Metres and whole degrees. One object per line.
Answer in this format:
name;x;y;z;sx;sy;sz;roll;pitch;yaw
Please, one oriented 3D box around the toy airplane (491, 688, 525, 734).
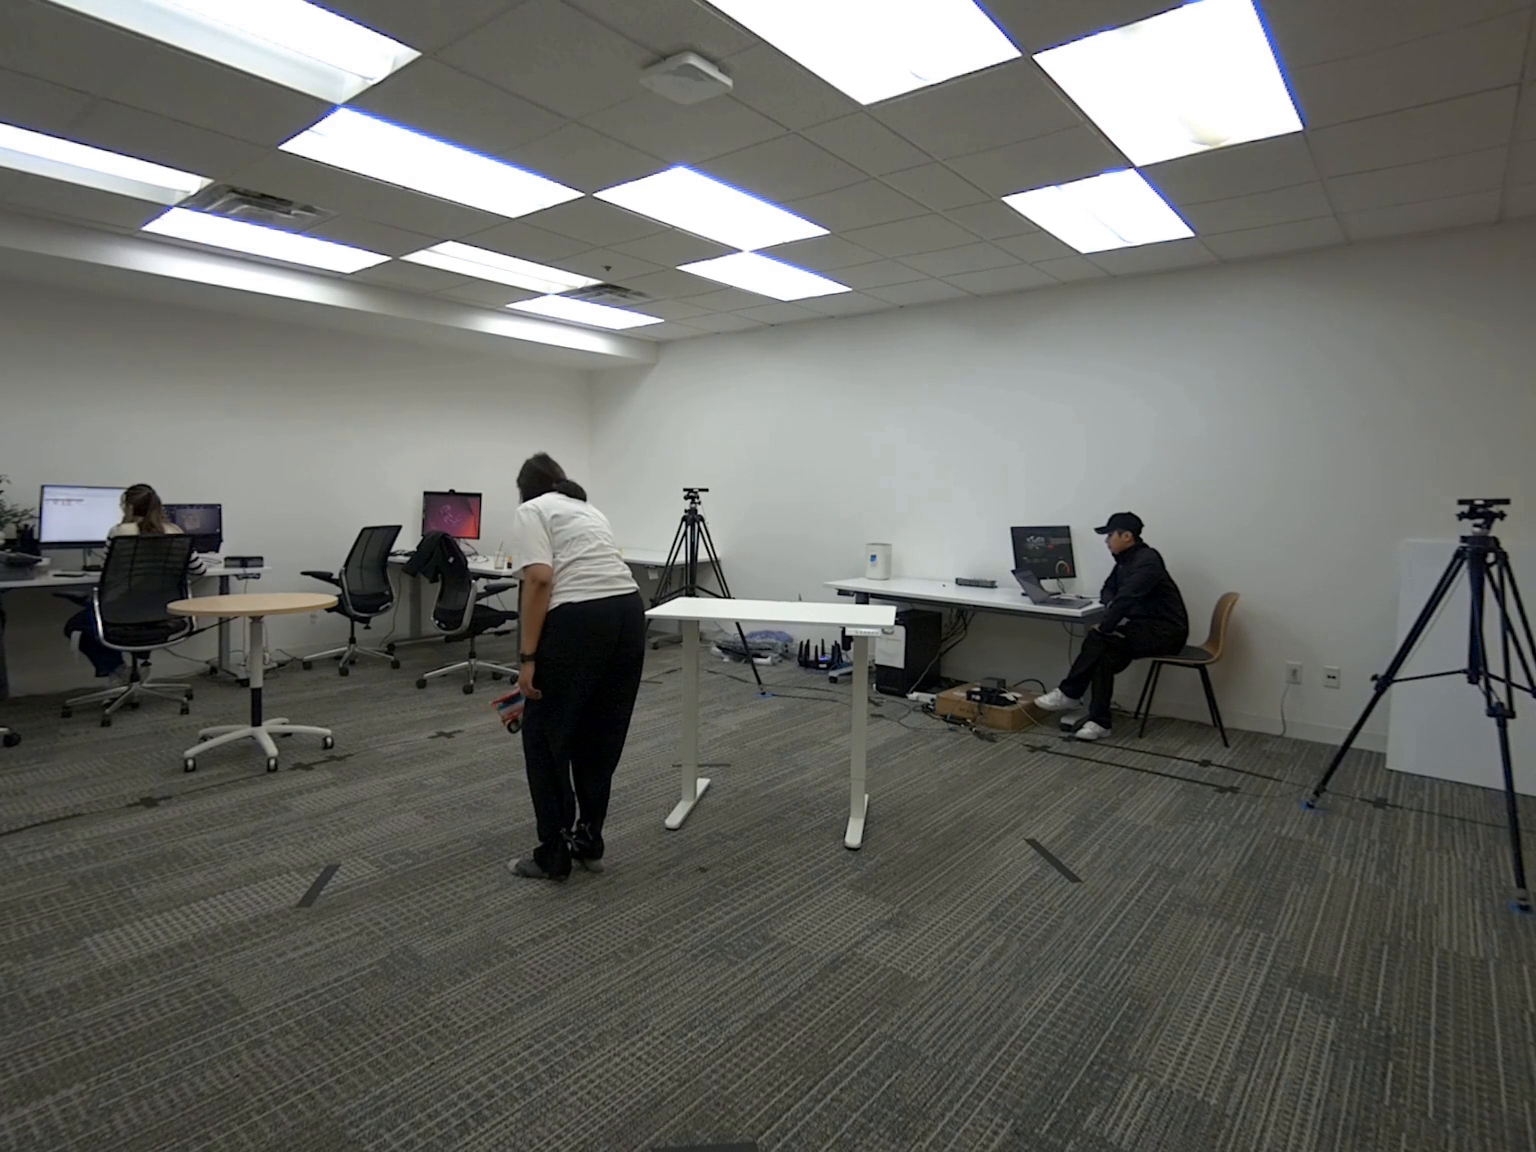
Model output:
toy airplane;-0.968;0.499;3.405;0.258;0.158;0.250;-37;-4;-18
